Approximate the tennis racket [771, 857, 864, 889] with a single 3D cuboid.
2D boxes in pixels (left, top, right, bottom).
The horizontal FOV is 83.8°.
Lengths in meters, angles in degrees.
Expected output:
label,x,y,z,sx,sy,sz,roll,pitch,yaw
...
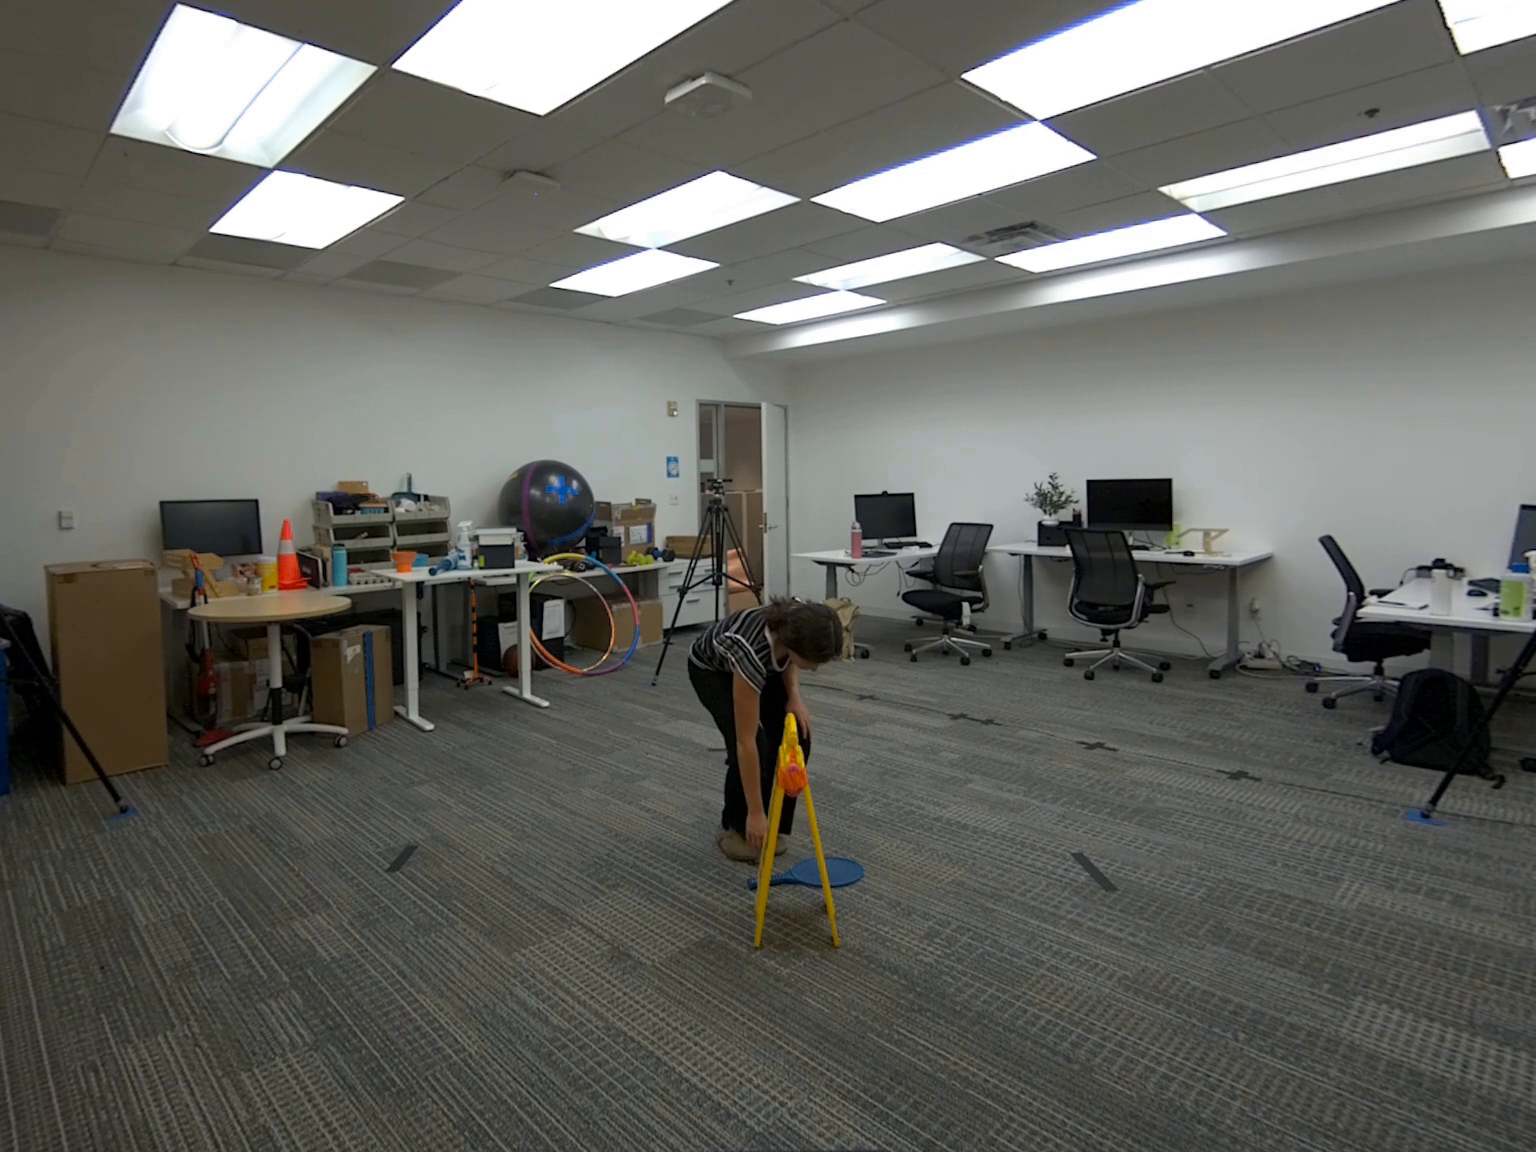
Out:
label,x,y,z,sx,sy,sz,roll,pitch,yaw
tennis racket,0.135,1.036,2.989,0.425,0.031,0.218,-2,6,-20
